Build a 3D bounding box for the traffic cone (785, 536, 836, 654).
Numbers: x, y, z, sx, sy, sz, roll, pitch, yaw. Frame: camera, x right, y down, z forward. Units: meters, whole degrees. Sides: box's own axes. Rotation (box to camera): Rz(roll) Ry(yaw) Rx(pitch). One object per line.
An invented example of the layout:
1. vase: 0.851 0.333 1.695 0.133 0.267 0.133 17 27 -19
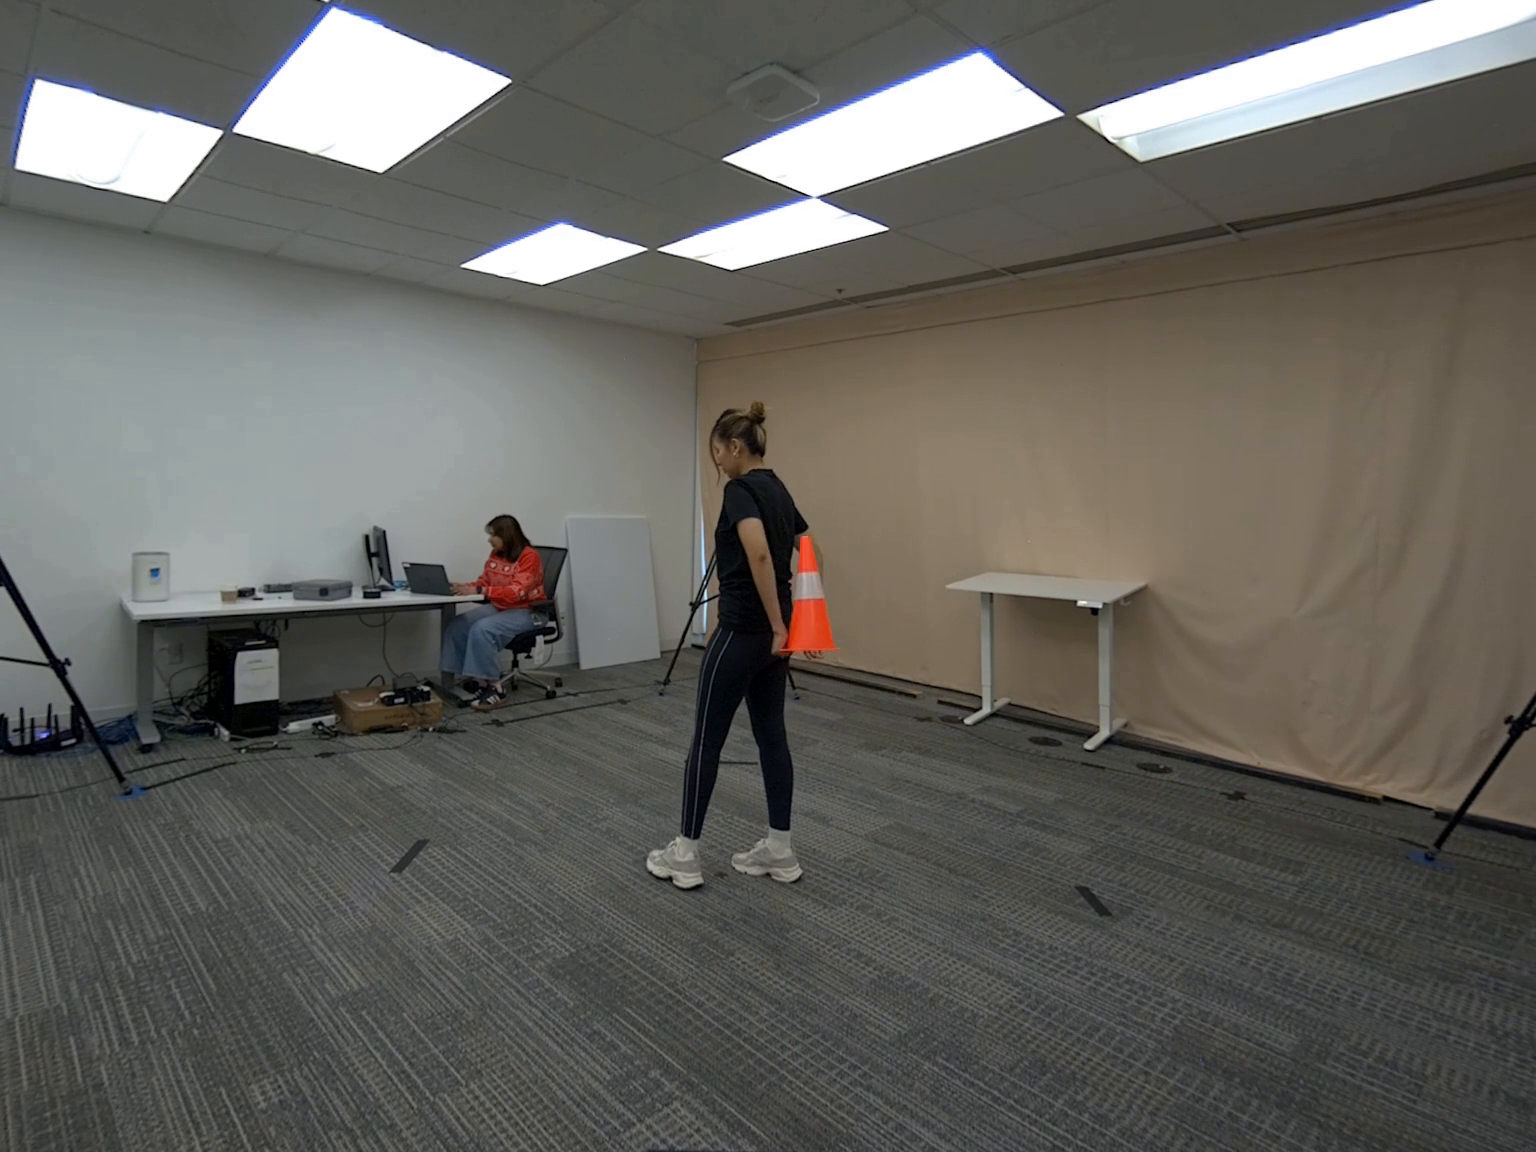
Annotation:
1. traffic cone: 0.113 0.061 2.826 0.206 0.385 0.201 -1 -6 7
